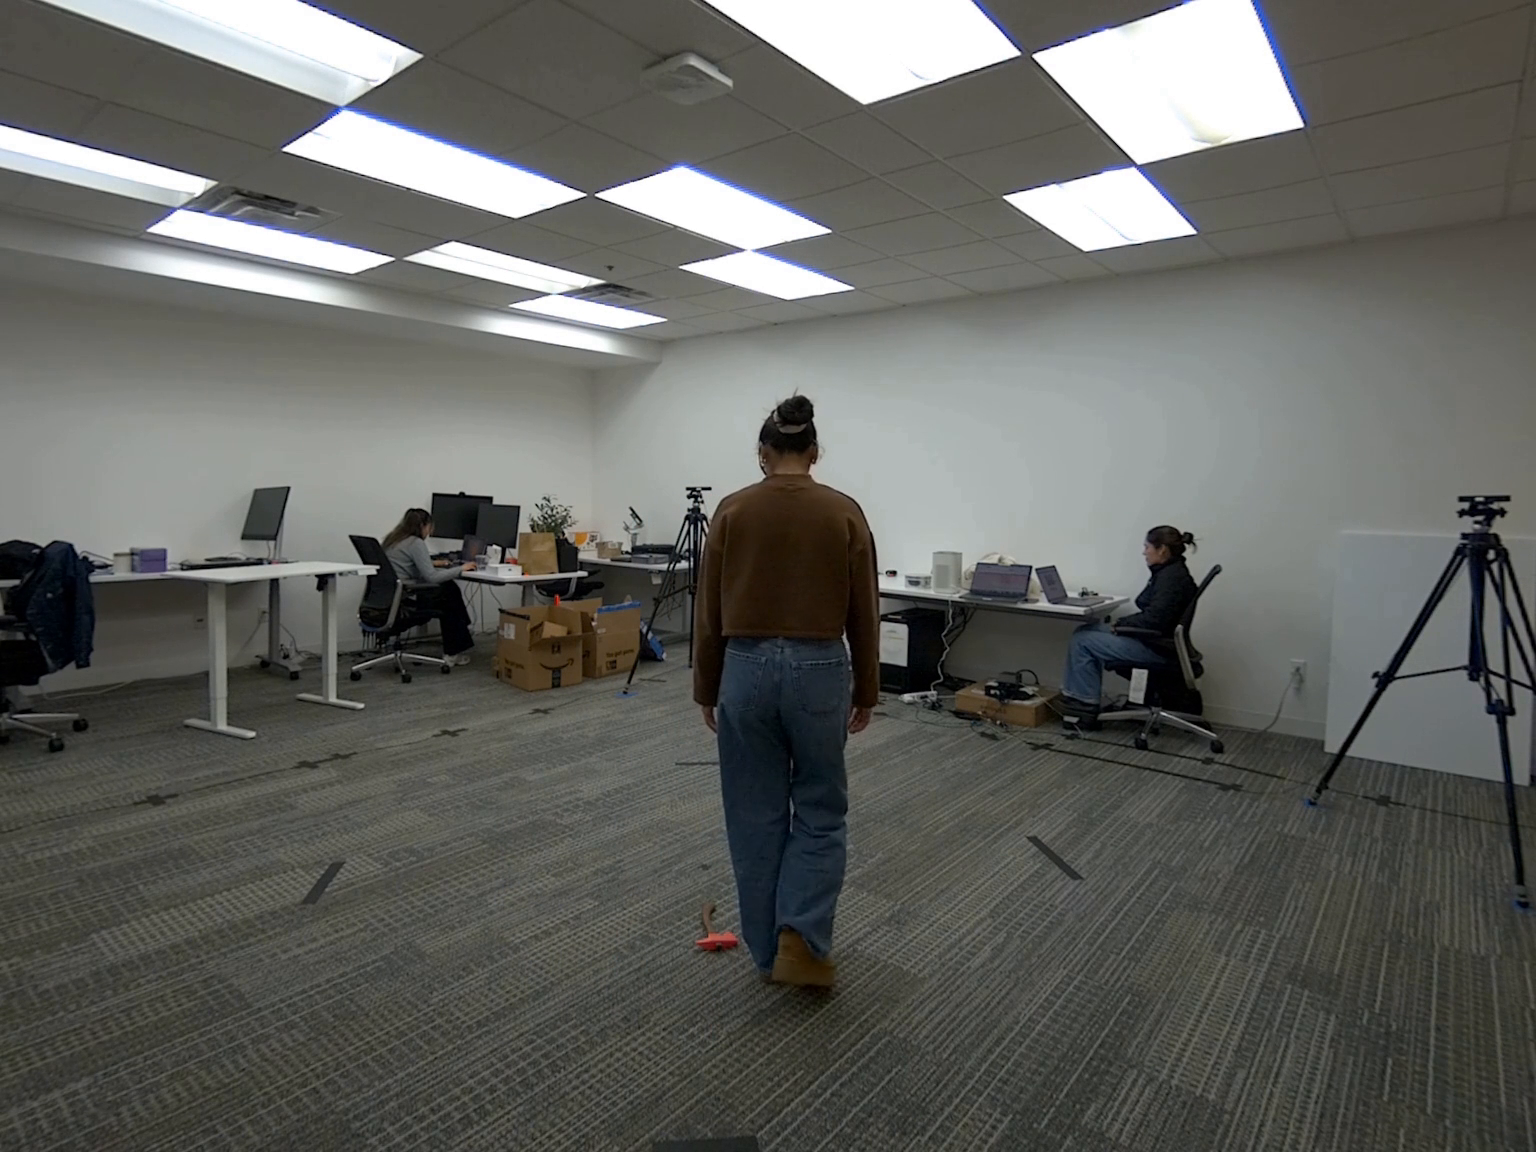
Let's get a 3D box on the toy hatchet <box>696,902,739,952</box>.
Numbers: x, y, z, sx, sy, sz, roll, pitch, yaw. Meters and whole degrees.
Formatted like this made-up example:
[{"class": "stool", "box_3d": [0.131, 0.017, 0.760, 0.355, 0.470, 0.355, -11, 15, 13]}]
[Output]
[{"class": "toy hatchet", "box_3d": [-0.159, 1.099, 2.673, 0.131, 0.029, 0.269, 2, 3, 2]}]
